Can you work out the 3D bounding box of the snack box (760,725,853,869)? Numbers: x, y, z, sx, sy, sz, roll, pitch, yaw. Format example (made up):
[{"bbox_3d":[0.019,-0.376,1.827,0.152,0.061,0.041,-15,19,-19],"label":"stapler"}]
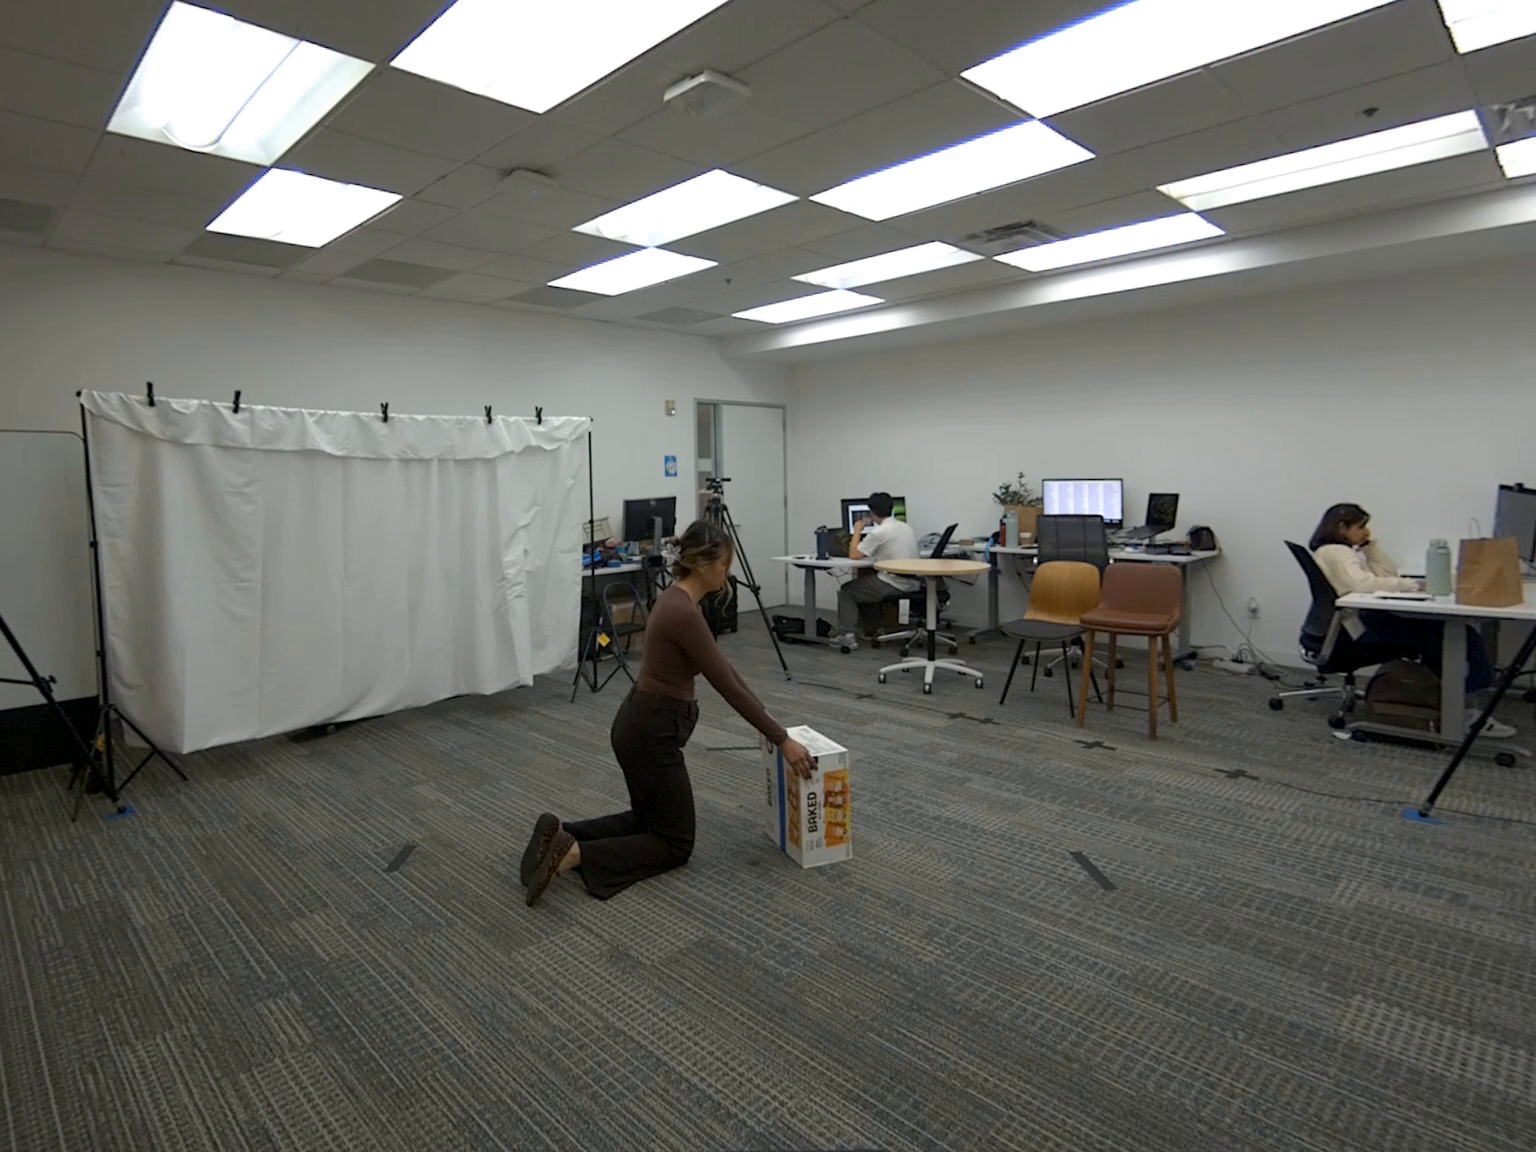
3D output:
[{"bbox_3d":[0.140,0.818,3.225,0.202,0.403,0.348,-4,5,-23],"label":"snack box"}]
